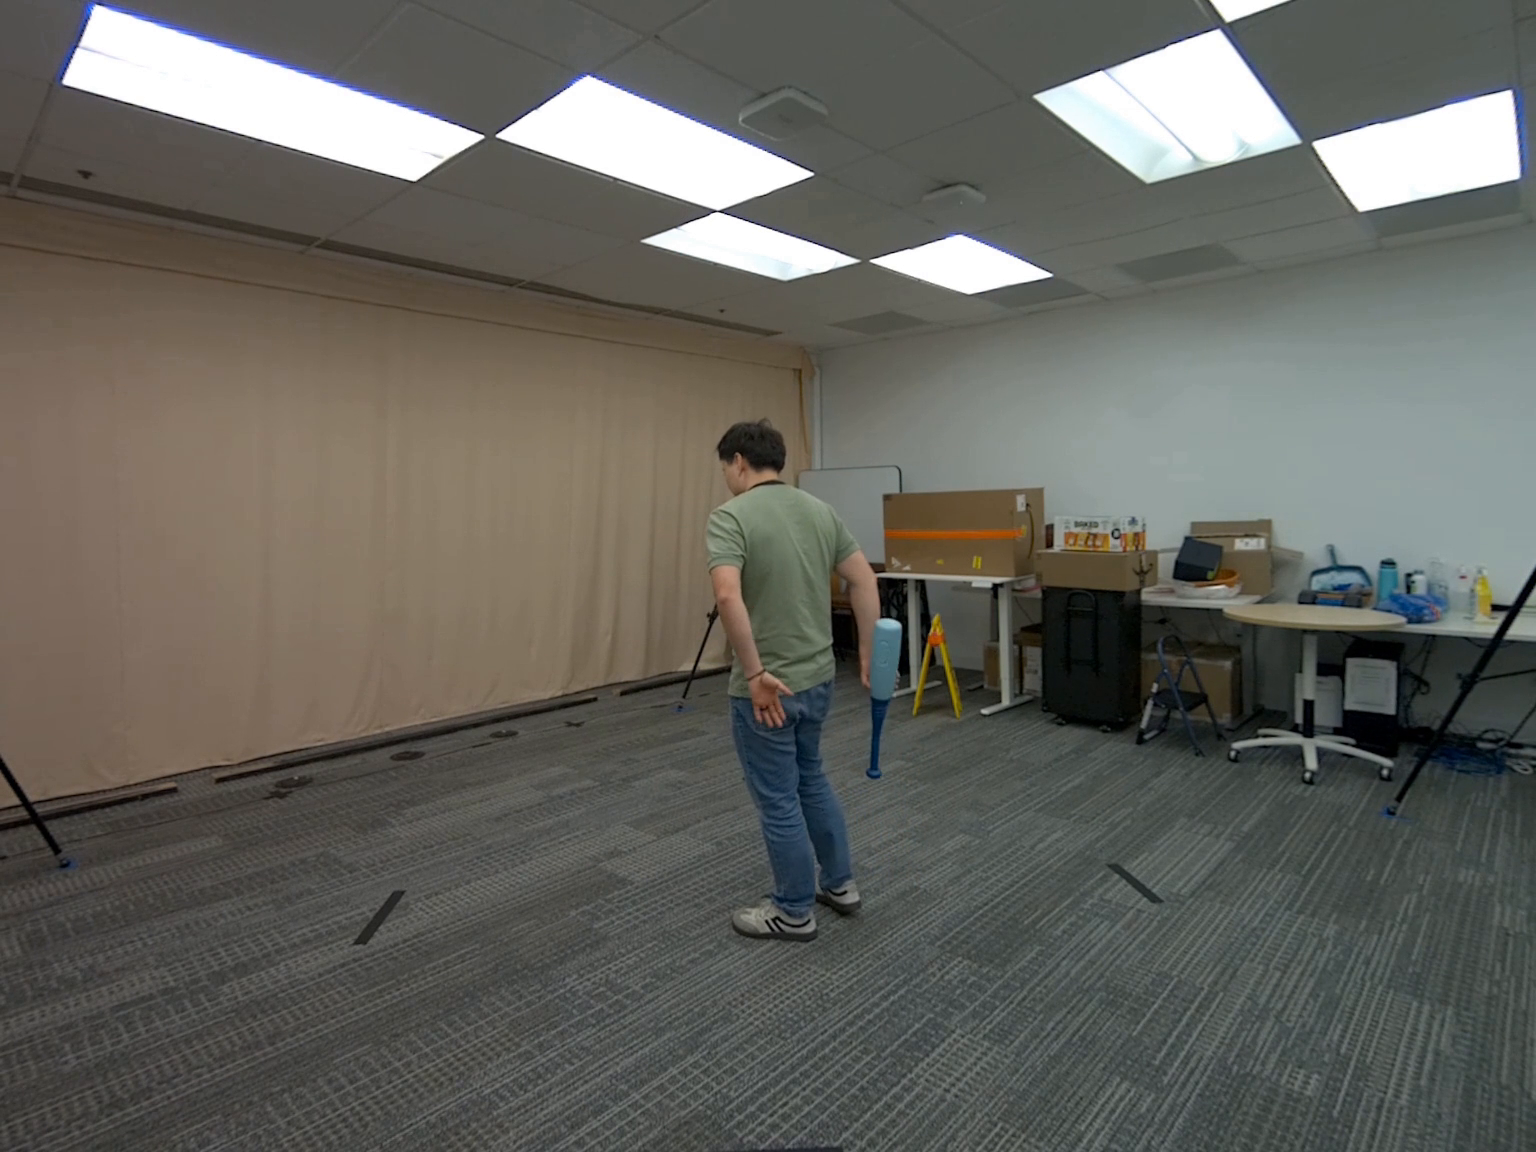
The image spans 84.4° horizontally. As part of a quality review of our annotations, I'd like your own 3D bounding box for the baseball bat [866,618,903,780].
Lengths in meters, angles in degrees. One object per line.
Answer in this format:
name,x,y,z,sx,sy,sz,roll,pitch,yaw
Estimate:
baseball bat,0.342,0.396,2.676,0.089,0.538,0.090,2,17,-2
